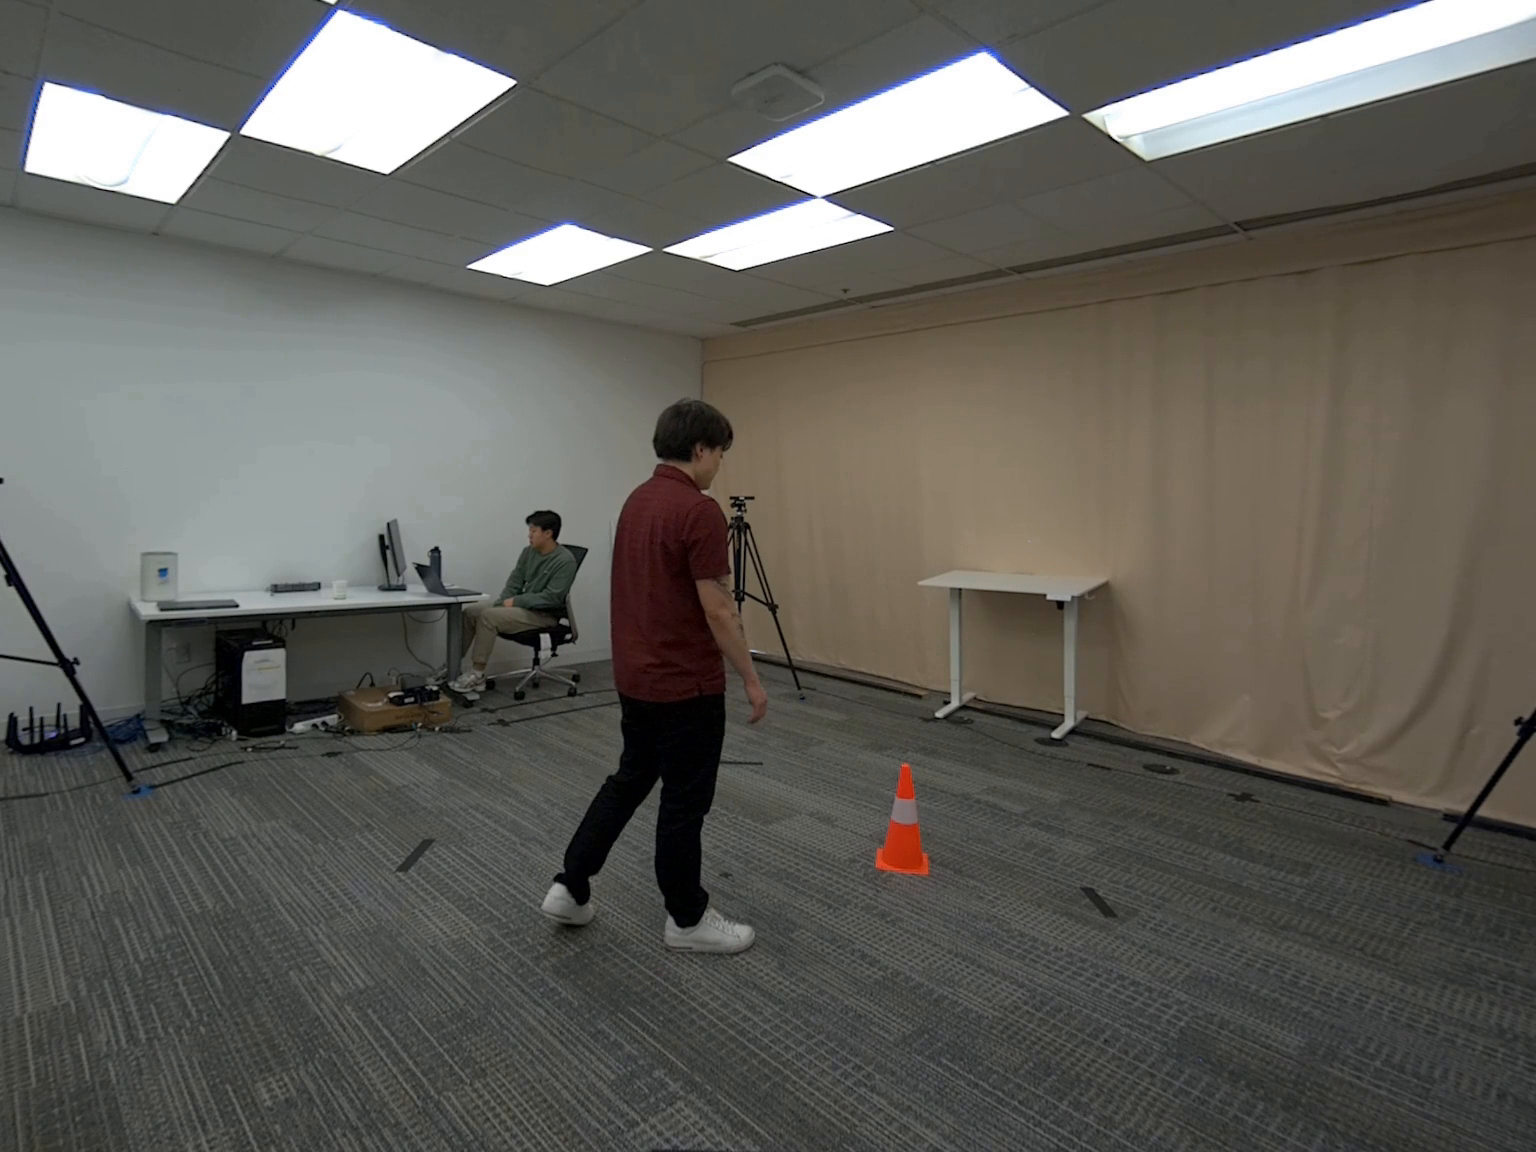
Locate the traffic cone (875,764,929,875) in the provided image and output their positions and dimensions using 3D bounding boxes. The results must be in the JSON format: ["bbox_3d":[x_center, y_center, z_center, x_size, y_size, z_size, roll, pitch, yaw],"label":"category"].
[{"bbox_3d":[0.526,0.921,3.260,0.206,0.383,0.203,3,3,14],"label":"traffic cone"}]
